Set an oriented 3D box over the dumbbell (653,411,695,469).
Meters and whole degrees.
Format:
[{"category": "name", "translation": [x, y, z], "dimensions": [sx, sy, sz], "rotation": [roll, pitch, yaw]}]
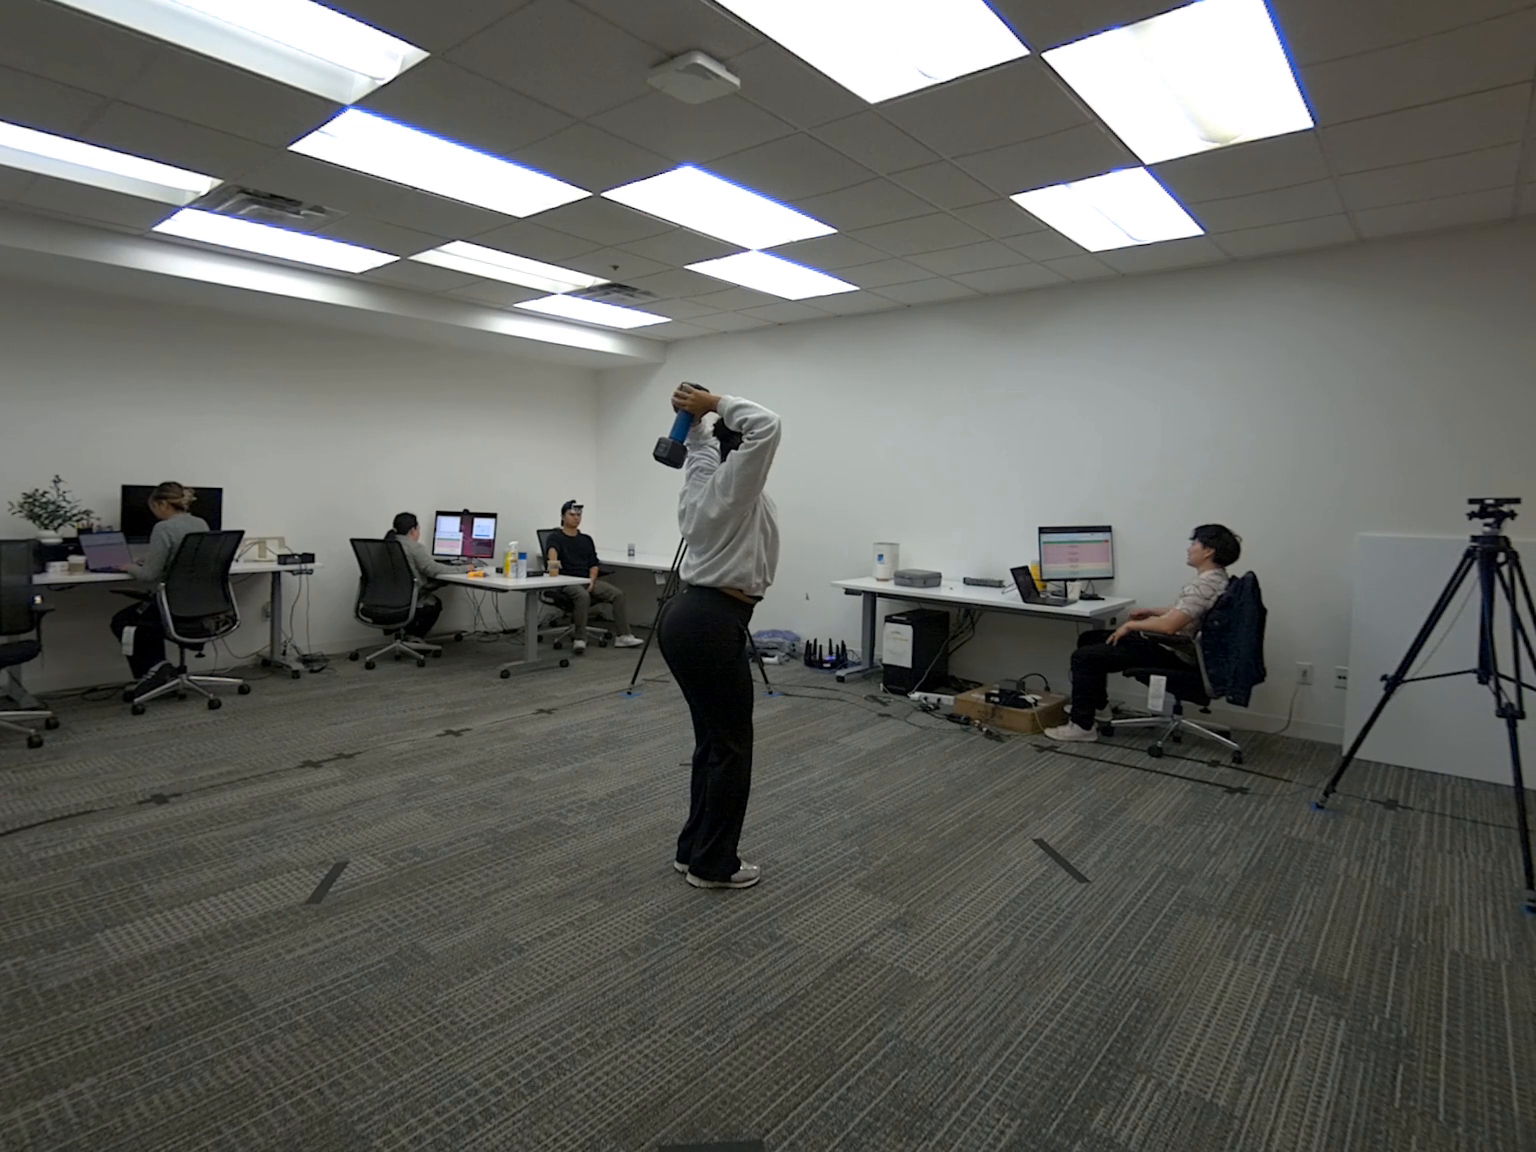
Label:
[{"category": "dumbbell", "translation": [-0.312, -0.540, 2.973], "dimensions": [0.127, 0.294, 0.105], "rotation": [20, -9, 29]}]
